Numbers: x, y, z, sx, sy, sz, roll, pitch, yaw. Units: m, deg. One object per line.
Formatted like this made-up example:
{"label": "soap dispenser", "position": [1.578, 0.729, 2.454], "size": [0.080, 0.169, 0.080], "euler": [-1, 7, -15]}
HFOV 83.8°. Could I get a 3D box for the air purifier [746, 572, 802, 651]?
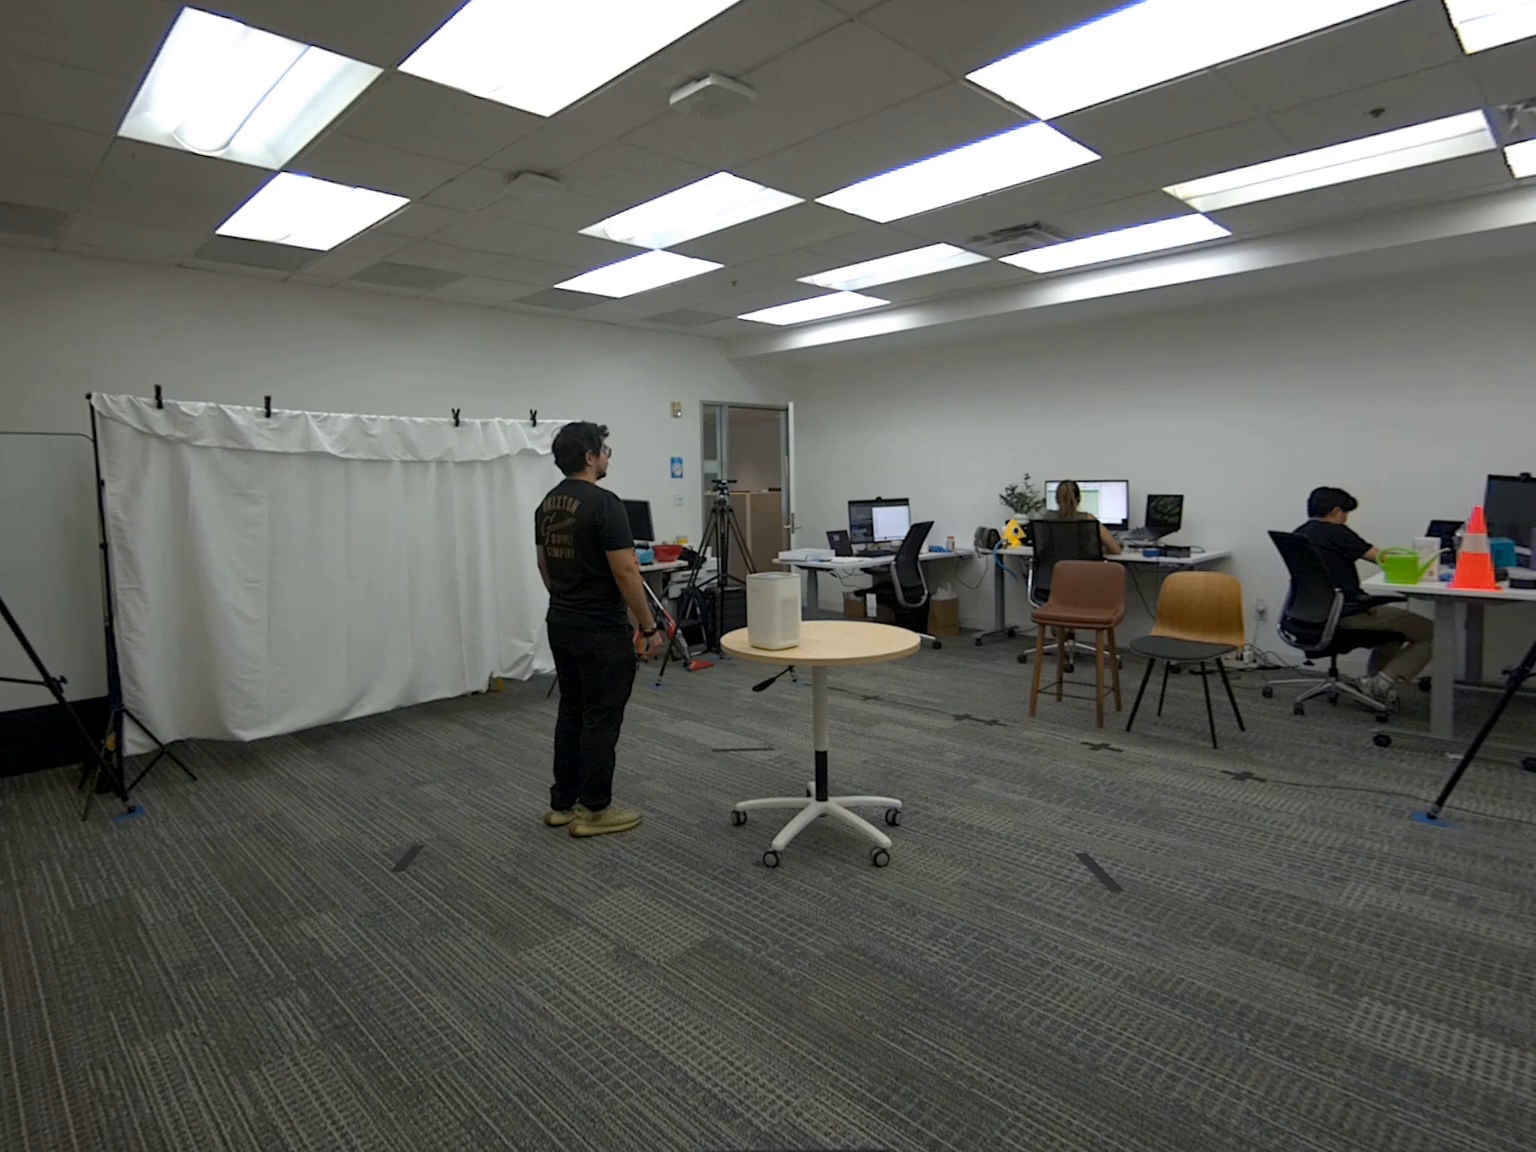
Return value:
{"label": "air purifier", "position": [0.026, 0.127, 3.155], "size": [0.167, 0.264, 0.176], "euler": [-6, 7, -39]}
